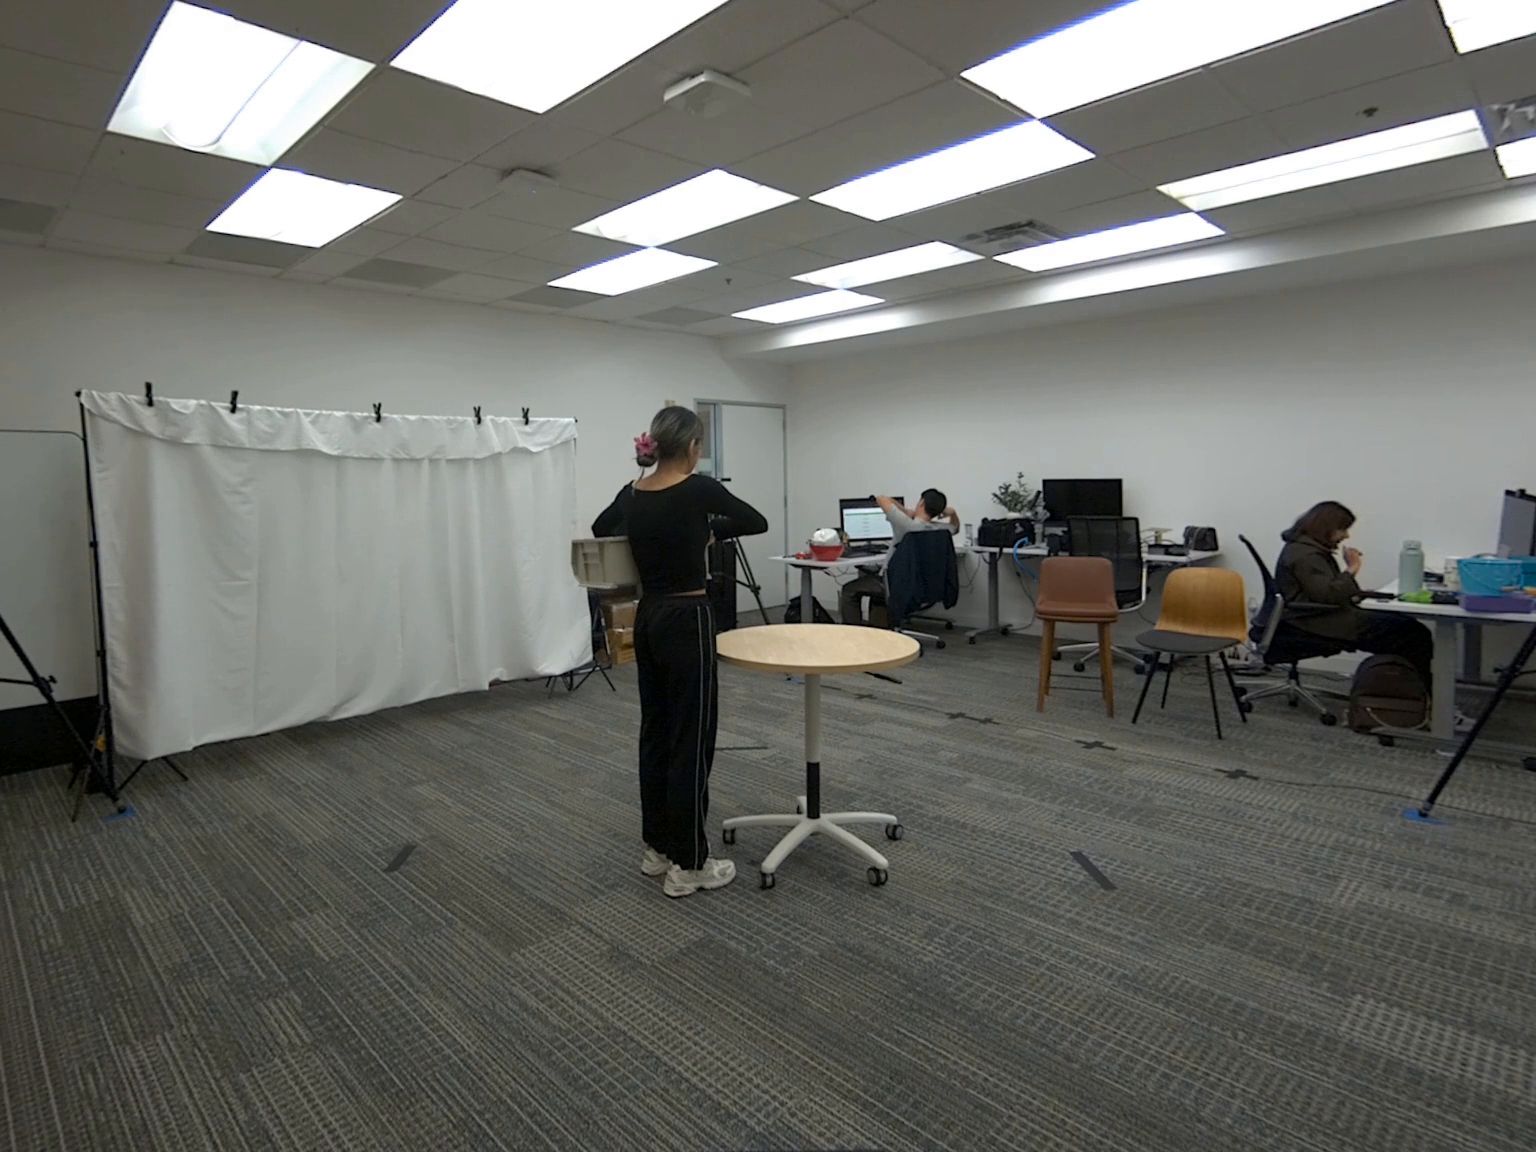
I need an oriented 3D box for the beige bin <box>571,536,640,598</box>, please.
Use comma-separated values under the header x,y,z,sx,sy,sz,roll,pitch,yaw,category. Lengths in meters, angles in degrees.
x,y,z,sx,sy,sz,roll,pitch,yaw,category
-0.483,-0.065,3.231,0.413,0.188,0.387,-6,6,-31,beige bin
